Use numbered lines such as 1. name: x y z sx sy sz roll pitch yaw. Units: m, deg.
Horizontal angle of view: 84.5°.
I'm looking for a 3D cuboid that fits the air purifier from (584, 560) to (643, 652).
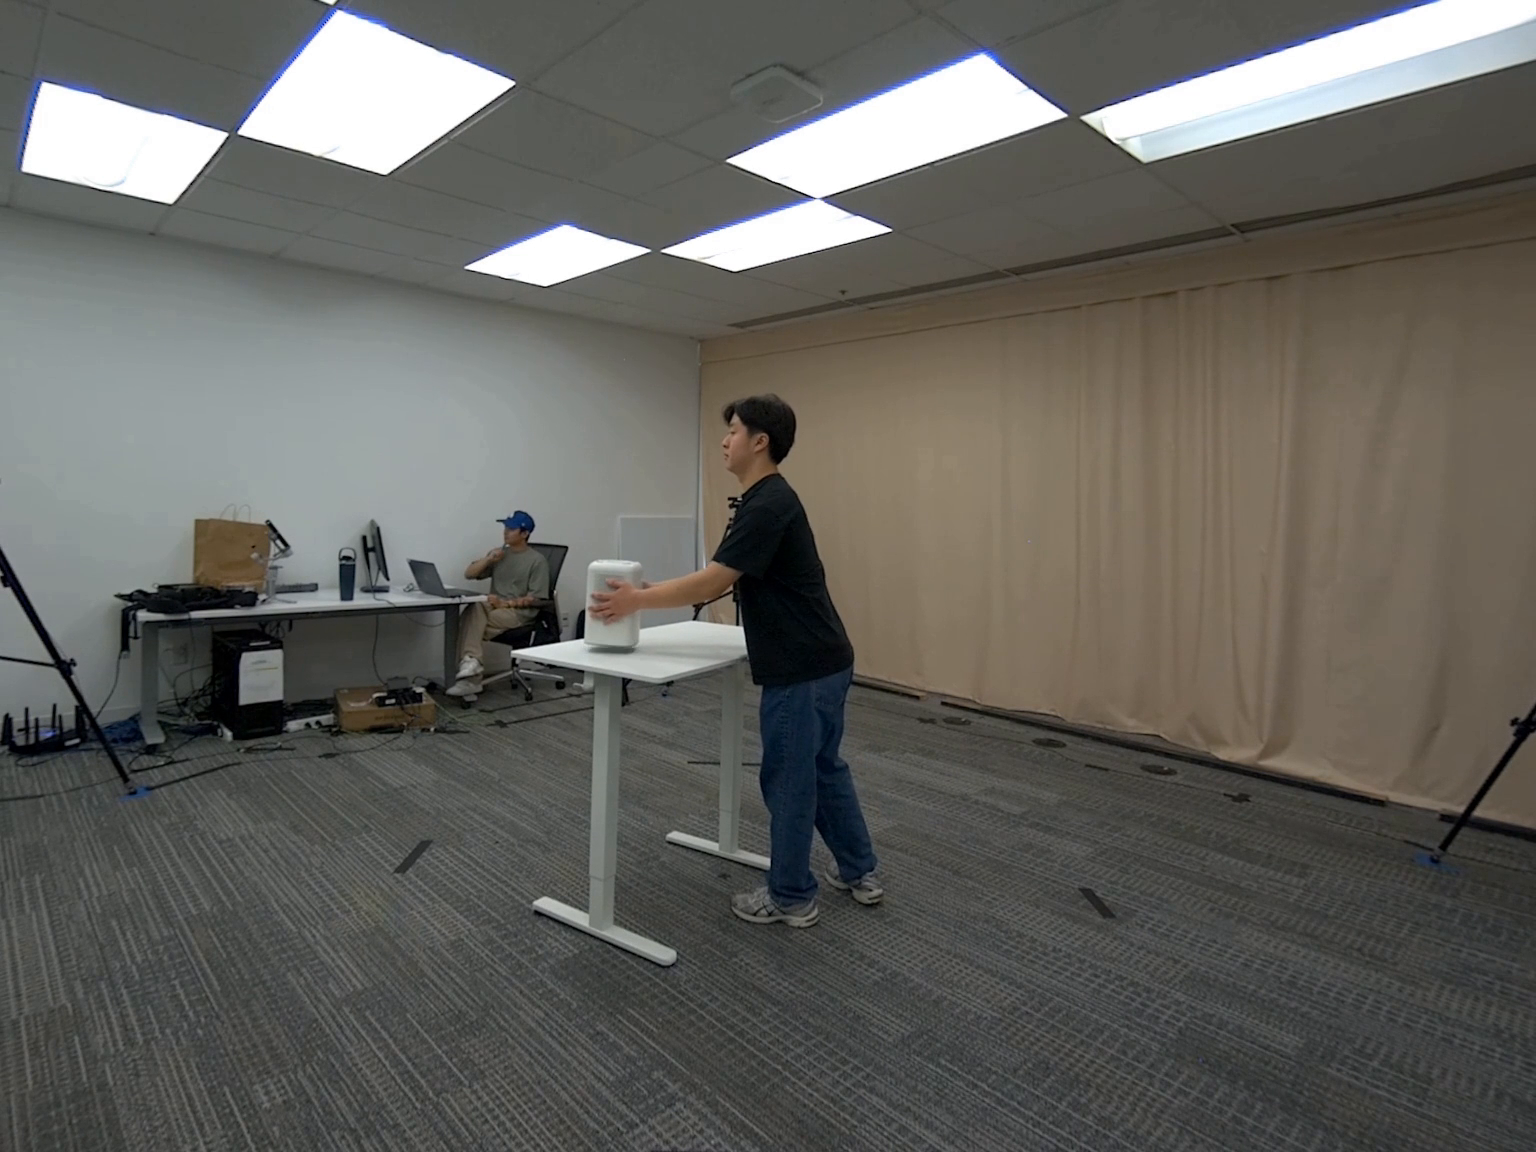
1. air purifier: -0.499 0.088 2.751 0.172 0.265 0.171 4 4 2
